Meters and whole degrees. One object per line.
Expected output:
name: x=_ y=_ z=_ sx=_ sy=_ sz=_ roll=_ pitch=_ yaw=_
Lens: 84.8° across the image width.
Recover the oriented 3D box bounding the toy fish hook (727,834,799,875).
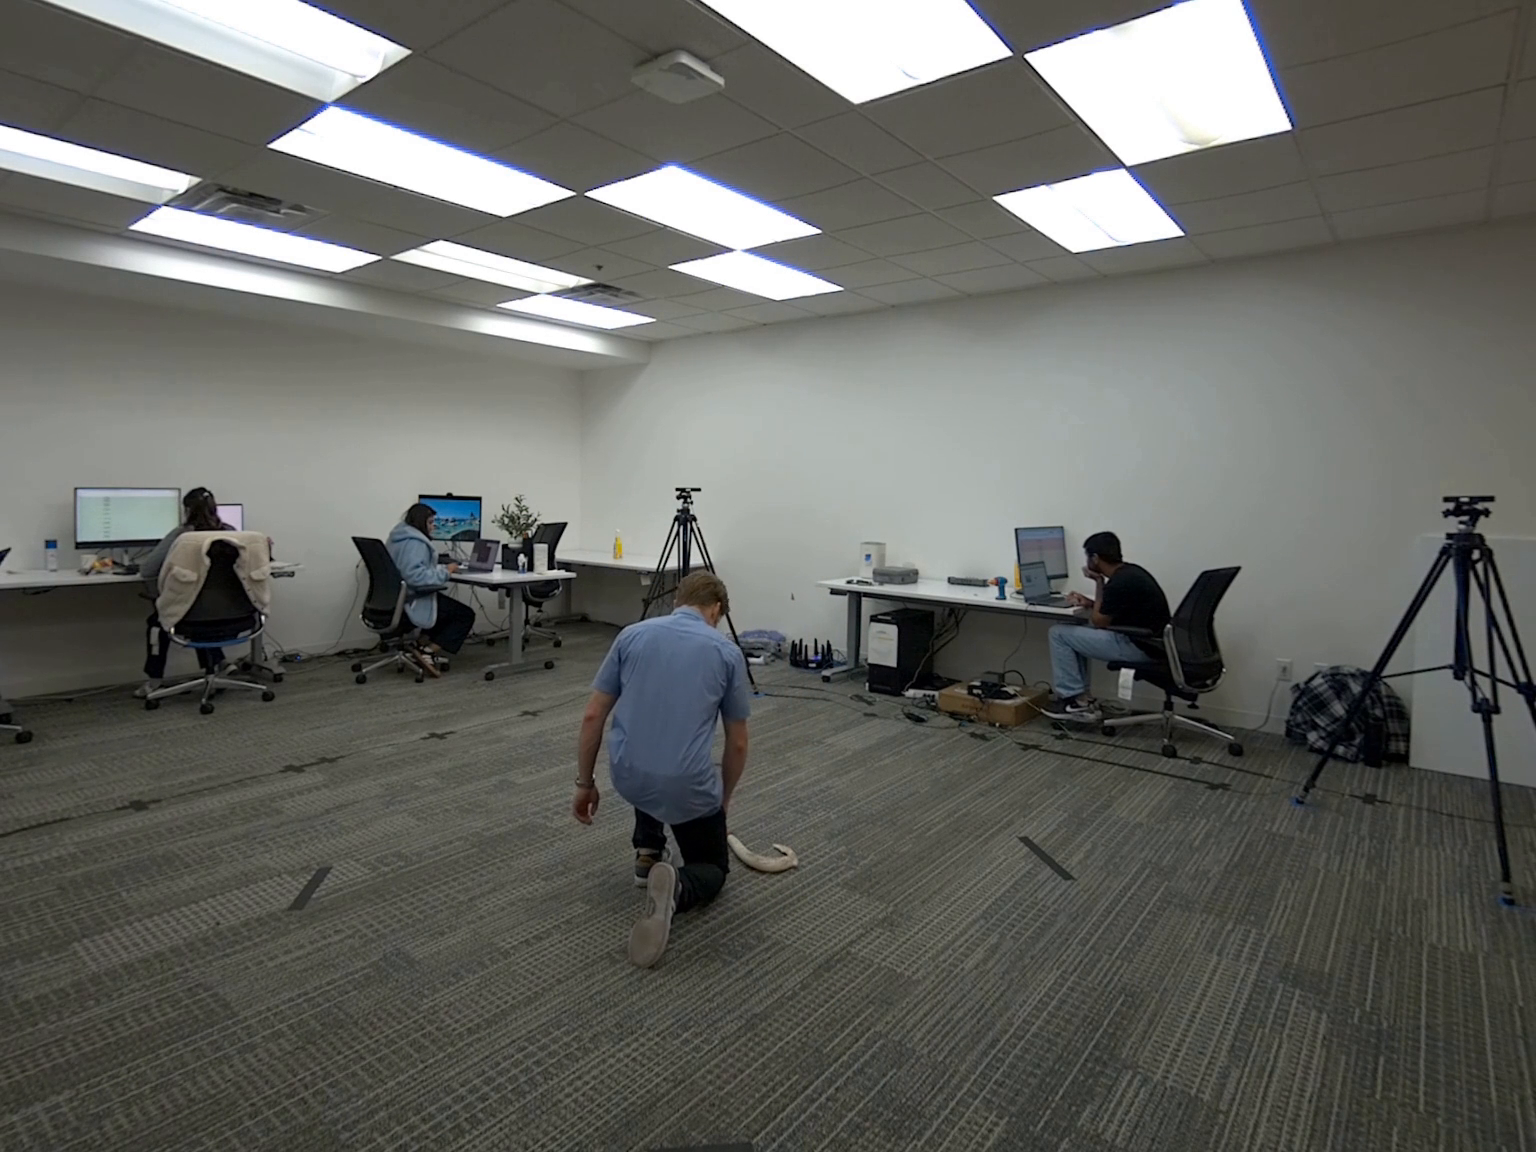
toy fish hook: x=-0.088 y=1.036 z=3.313 sx=0.217 sy=0.048 sz=0.524 roll=7 pitch=2 yaw=-36
